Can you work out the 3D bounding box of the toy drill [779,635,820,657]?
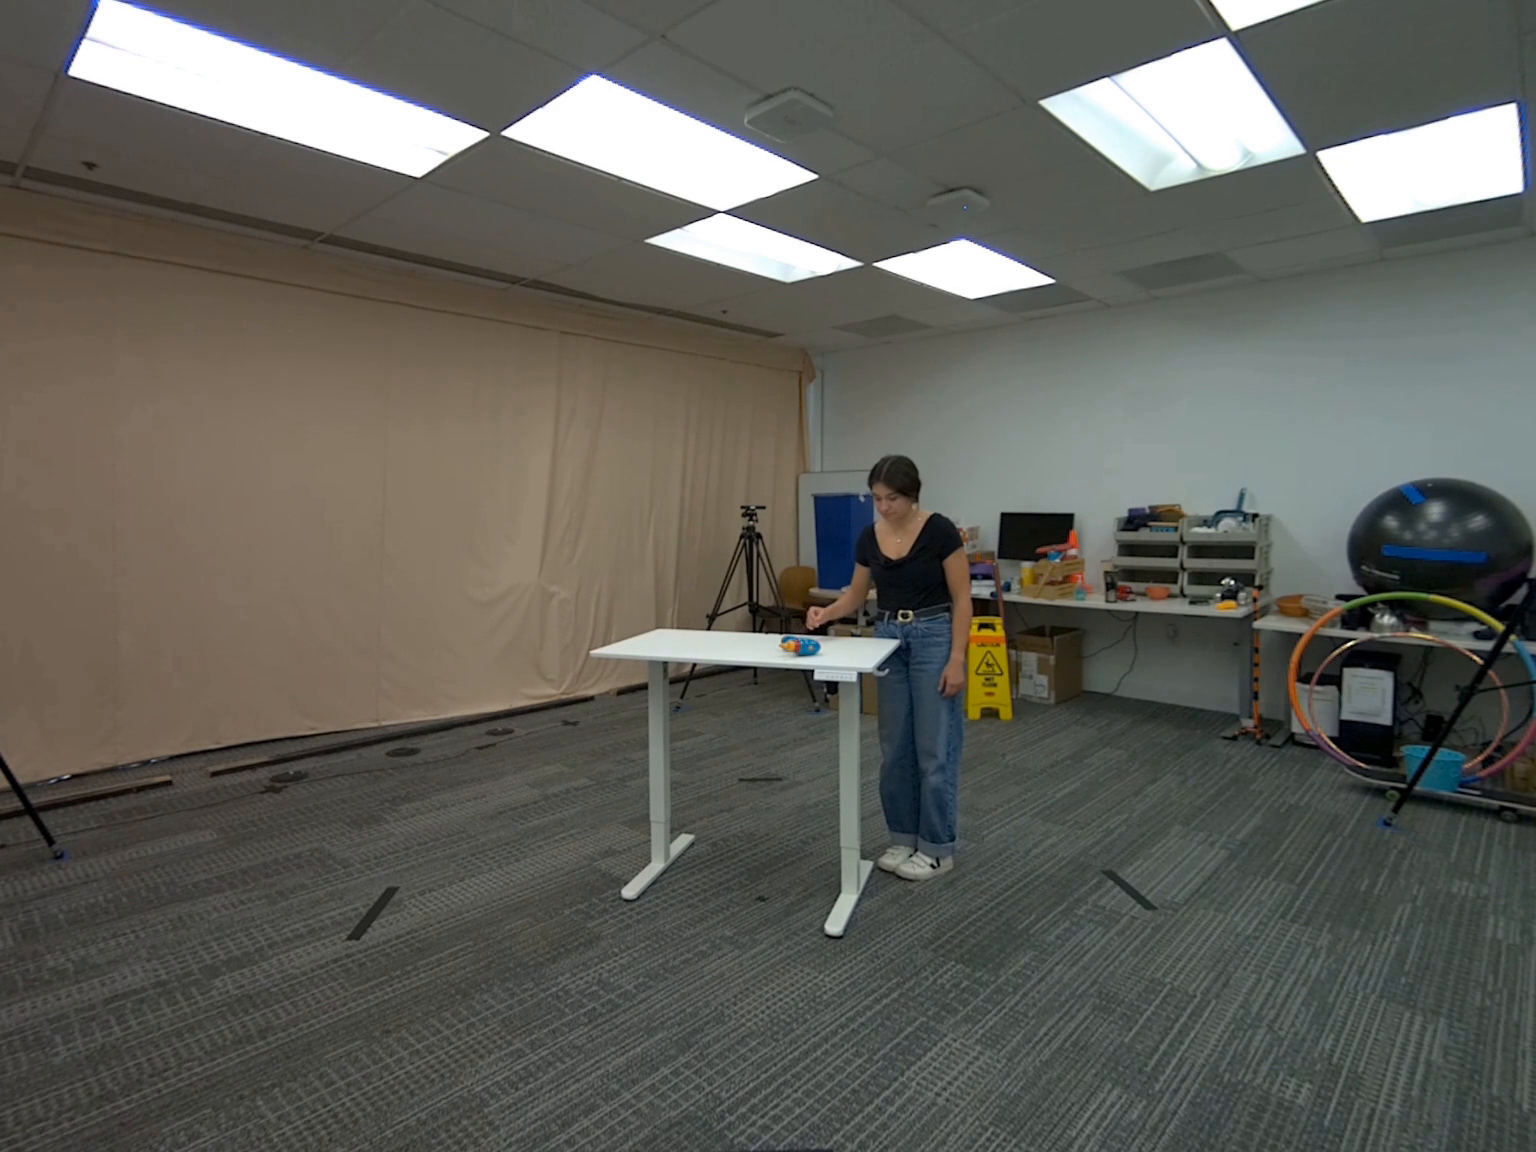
[{"bbox_3d":[0.086,0.240,2.870,0.165,0.061,0.150,3,1,-32],"label":"toy drill"}]
